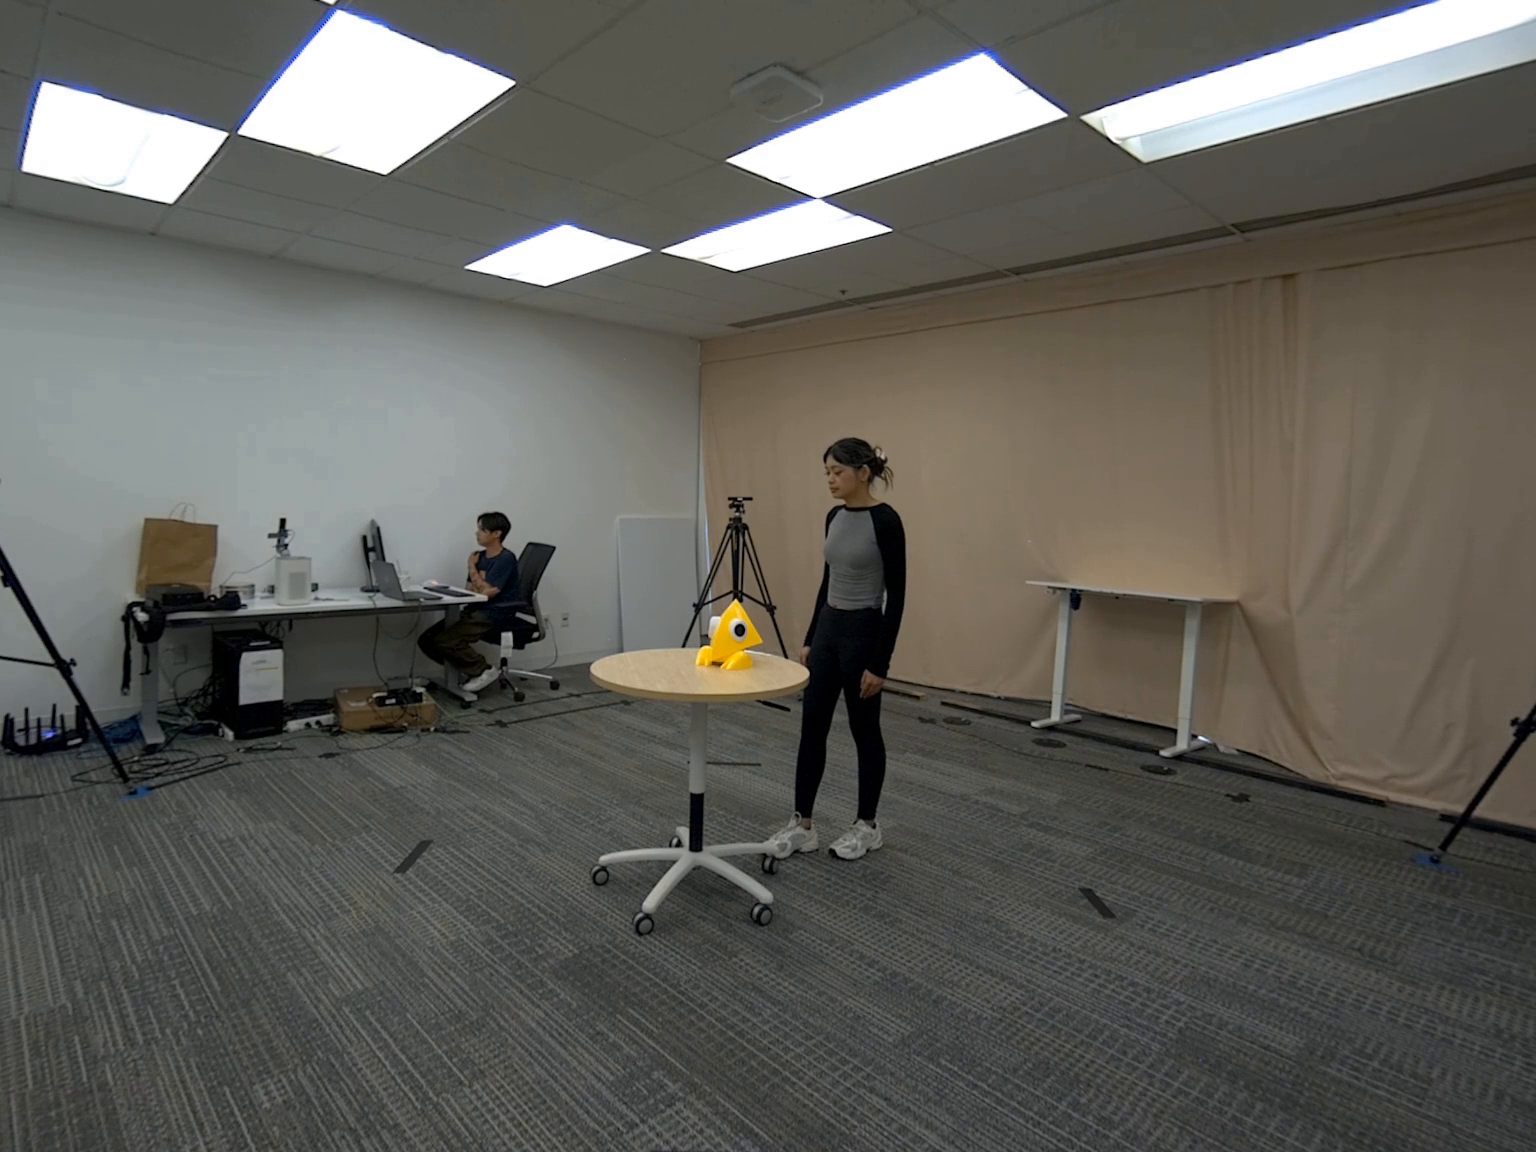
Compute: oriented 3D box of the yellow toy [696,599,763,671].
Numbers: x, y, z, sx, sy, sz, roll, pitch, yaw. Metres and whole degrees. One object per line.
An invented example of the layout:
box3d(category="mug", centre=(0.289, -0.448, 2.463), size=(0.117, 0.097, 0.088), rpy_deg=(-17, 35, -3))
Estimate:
box3d(category="yellow toy", centre=(-0.154, 0.206, 3.037), size=(0.209, 0.230, 0.189), rpy_deg=(4, 4, 30))
